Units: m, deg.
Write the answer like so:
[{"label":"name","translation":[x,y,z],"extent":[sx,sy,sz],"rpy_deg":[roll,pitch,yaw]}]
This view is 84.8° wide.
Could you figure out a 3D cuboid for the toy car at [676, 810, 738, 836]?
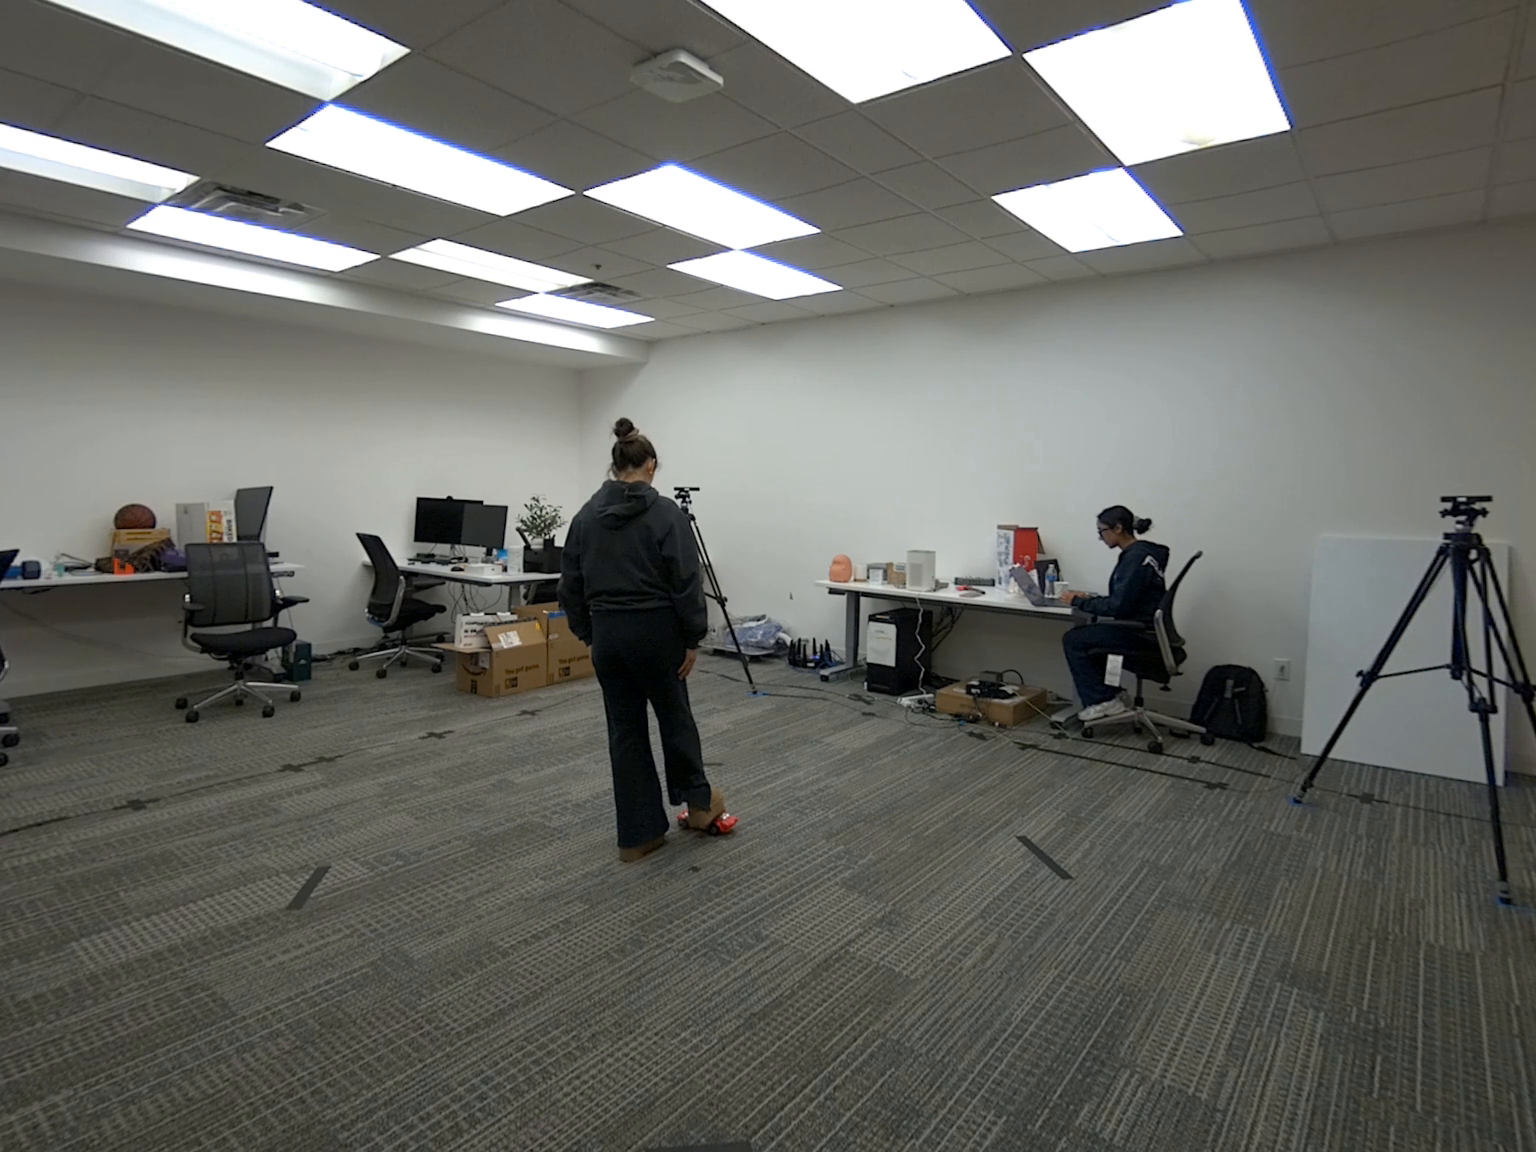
[{"label":"toy car","translation":[-0.243,0.997,3.475],"extent":[0.260,0.083,0.127],"rpy_deg":[-8,1,24]}]
